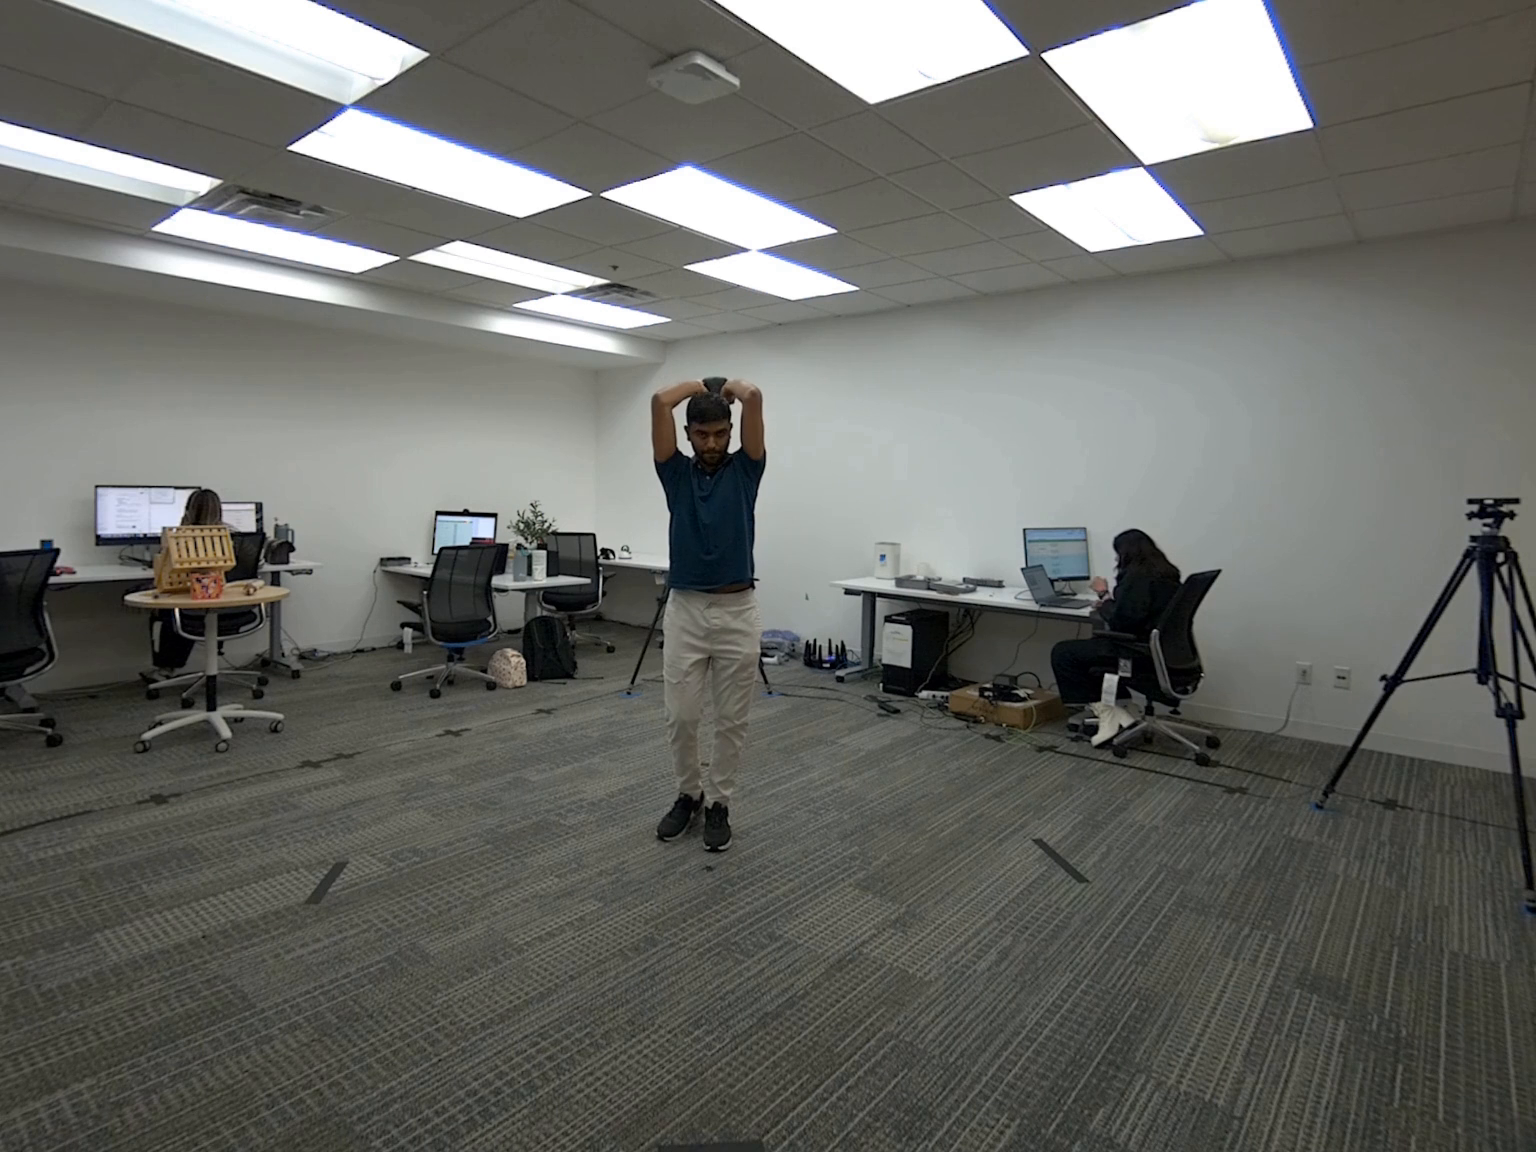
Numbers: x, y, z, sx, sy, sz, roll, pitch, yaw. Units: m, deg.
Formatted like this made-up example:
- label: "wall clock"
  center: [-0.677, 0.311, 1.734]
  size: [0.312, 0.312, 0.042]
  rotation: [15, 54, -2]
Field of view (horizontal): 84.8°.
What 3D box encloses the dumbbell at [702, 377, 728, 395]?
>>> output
- label: "dumbbell"
  center: [-0.229, -0.668, 3.484]
  size: [0.110, 0.294, 0.121]
  rotation: [0, -2, 14]
